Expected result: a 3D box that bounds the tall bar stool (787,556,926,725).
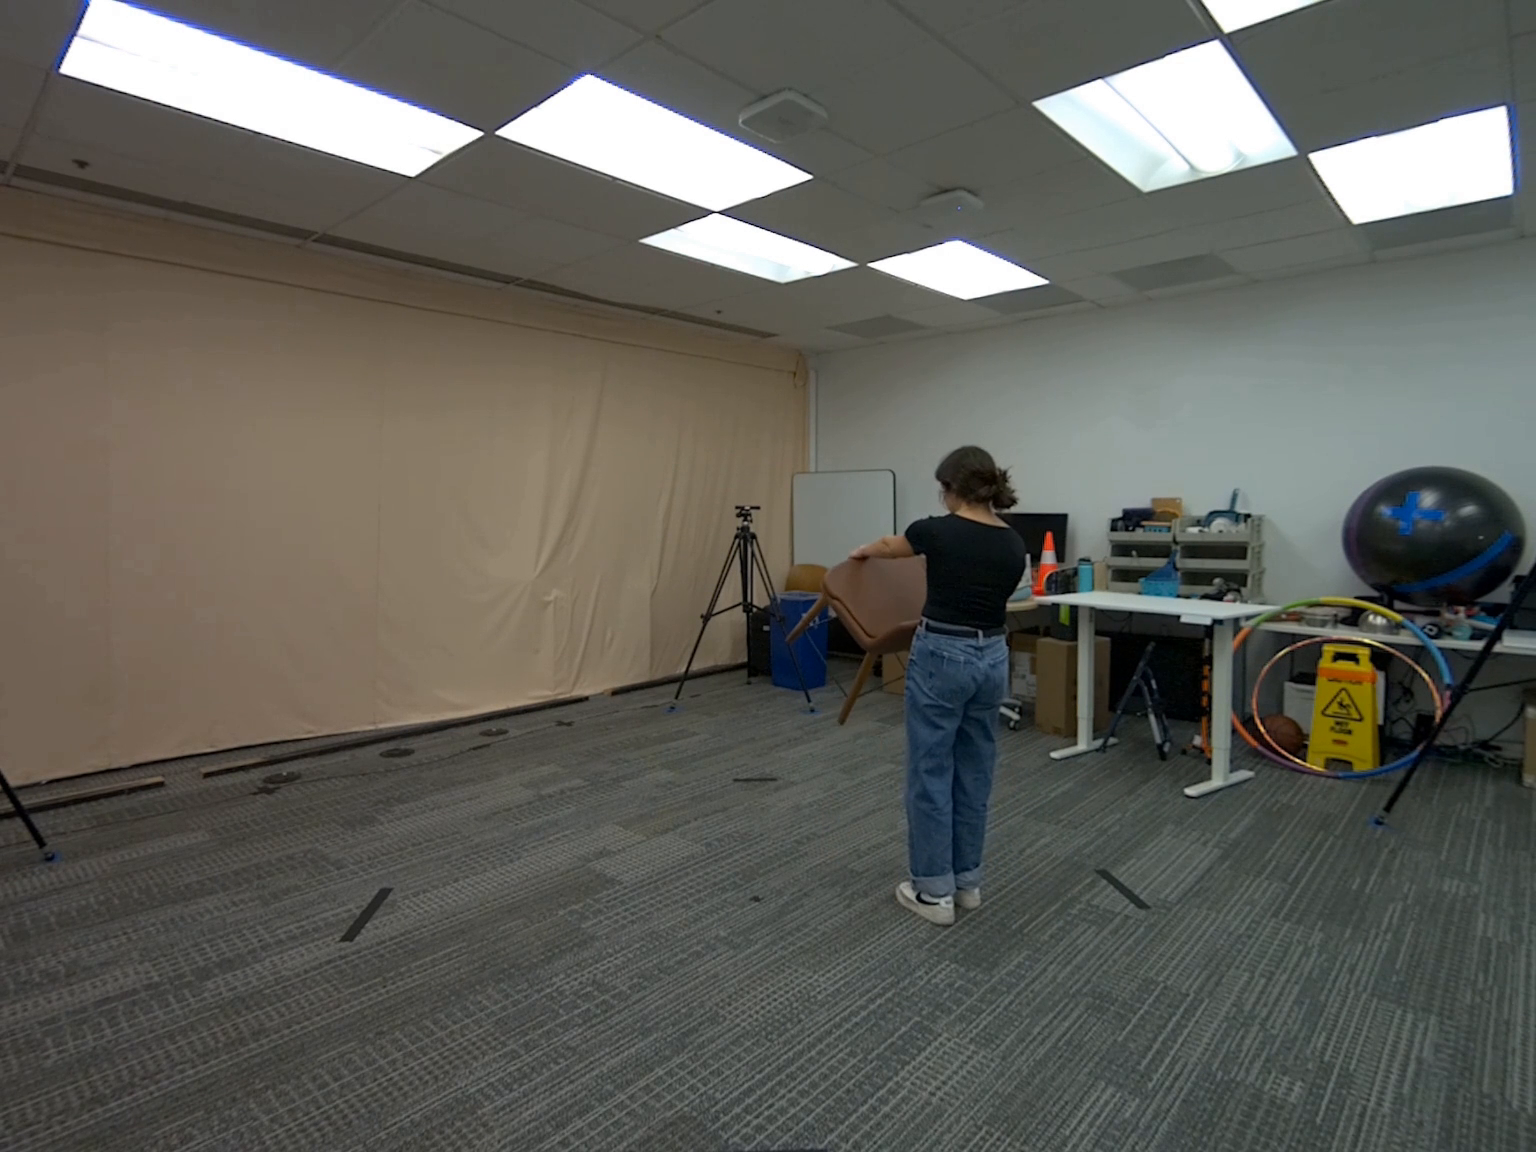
[{"bbox_3d":[0.443,0.188,3.377,0.448,0.479,0.884,-18,-26,-23],"label":"tall bar stool"}]
